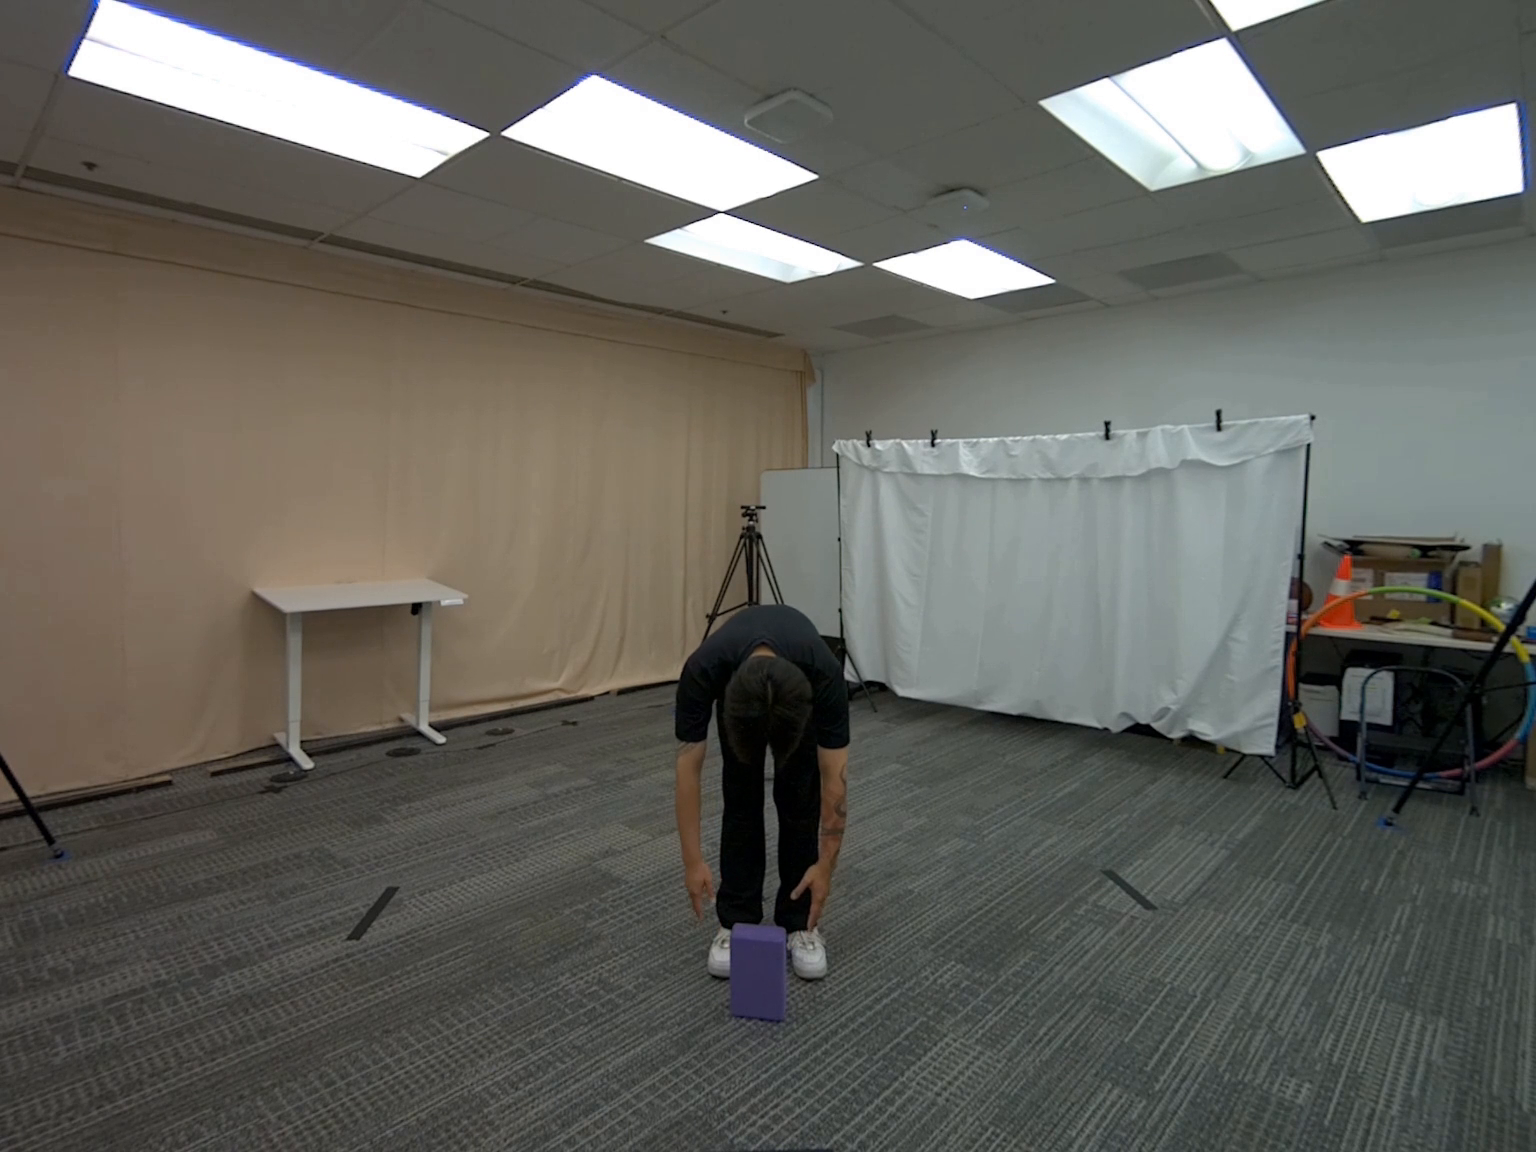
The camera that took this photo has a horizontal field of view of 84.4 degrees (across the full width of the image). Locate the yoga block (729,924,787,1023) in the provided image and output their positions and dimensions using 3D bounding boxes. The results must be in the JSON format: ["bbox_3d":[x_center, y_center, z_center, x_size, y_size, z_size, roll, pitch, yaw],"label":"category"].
[{"bbox_3d":[-0.026,1.080,2.313,0.150,0.229,0.076,-2,3,10],"label":"yoga block"}]
